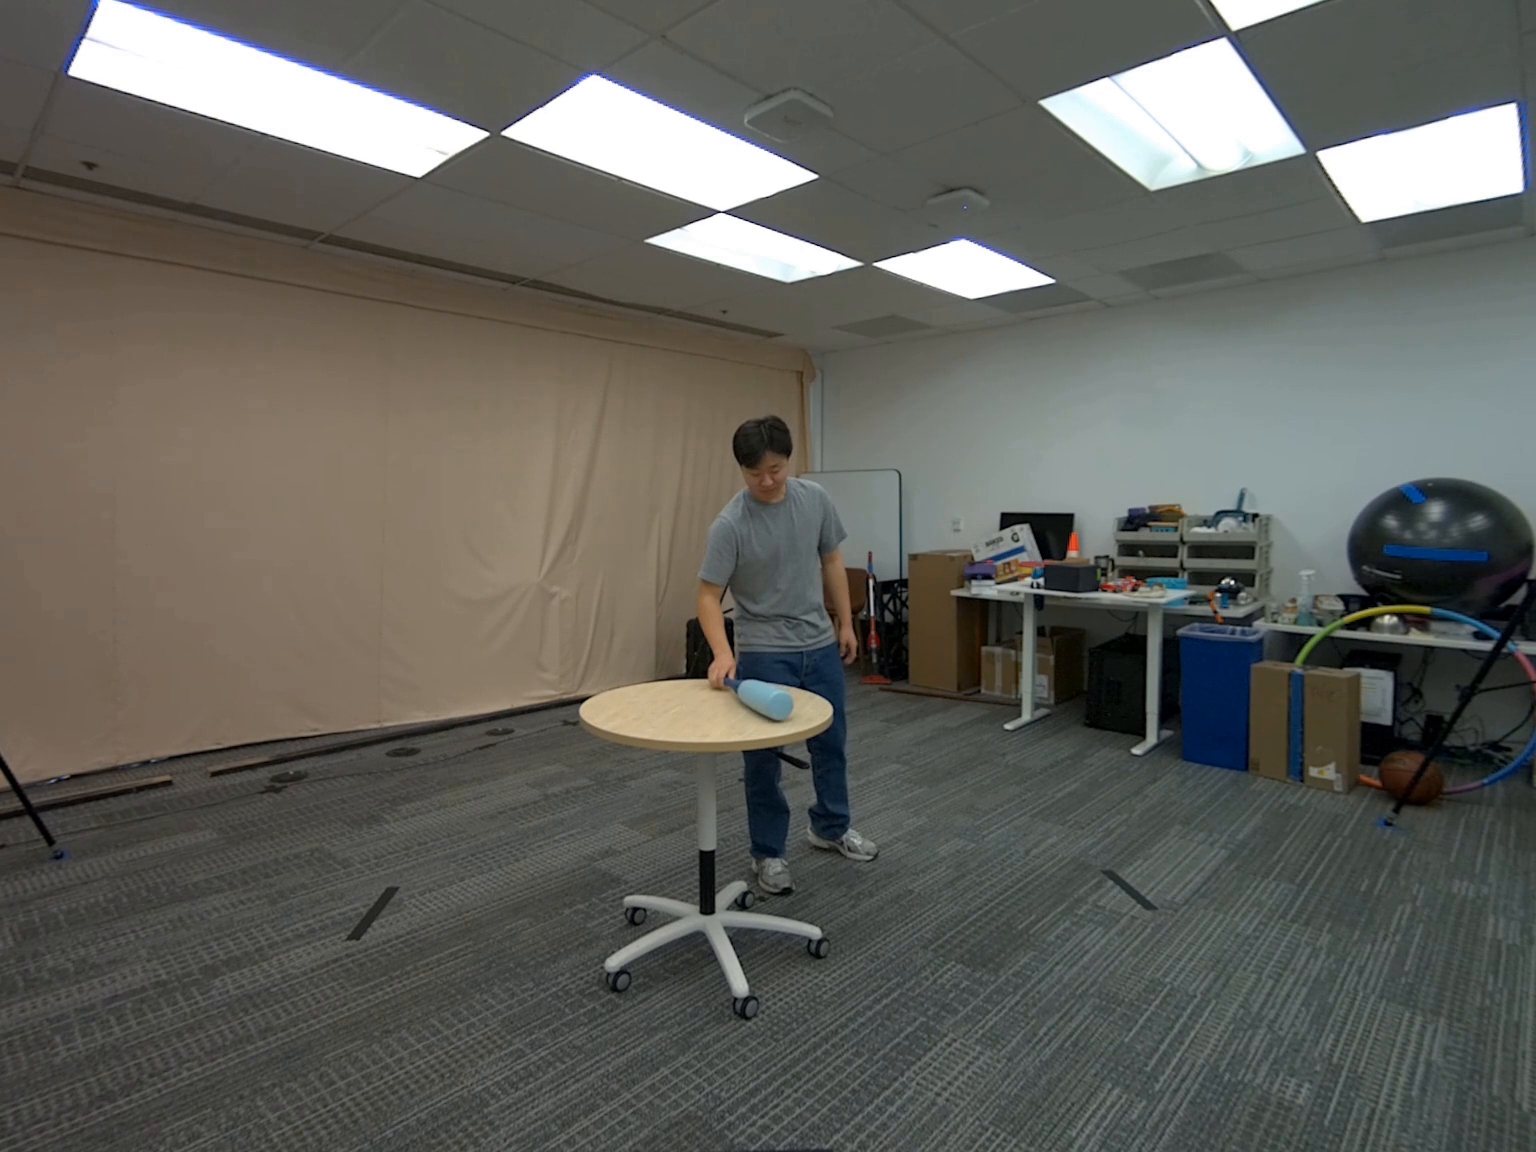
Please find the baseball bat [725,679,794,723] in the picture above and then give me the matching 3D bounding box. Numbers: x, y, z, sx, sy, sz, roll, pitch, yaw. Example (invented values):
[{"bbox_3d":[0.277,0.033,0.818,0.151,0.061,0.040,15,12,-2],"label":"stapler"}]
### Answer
[{"bbox_3d":[-0.067,0.348,2.610,0.087,0.089,0.555,-1,2,-23],"label":"baseball bat"}]
